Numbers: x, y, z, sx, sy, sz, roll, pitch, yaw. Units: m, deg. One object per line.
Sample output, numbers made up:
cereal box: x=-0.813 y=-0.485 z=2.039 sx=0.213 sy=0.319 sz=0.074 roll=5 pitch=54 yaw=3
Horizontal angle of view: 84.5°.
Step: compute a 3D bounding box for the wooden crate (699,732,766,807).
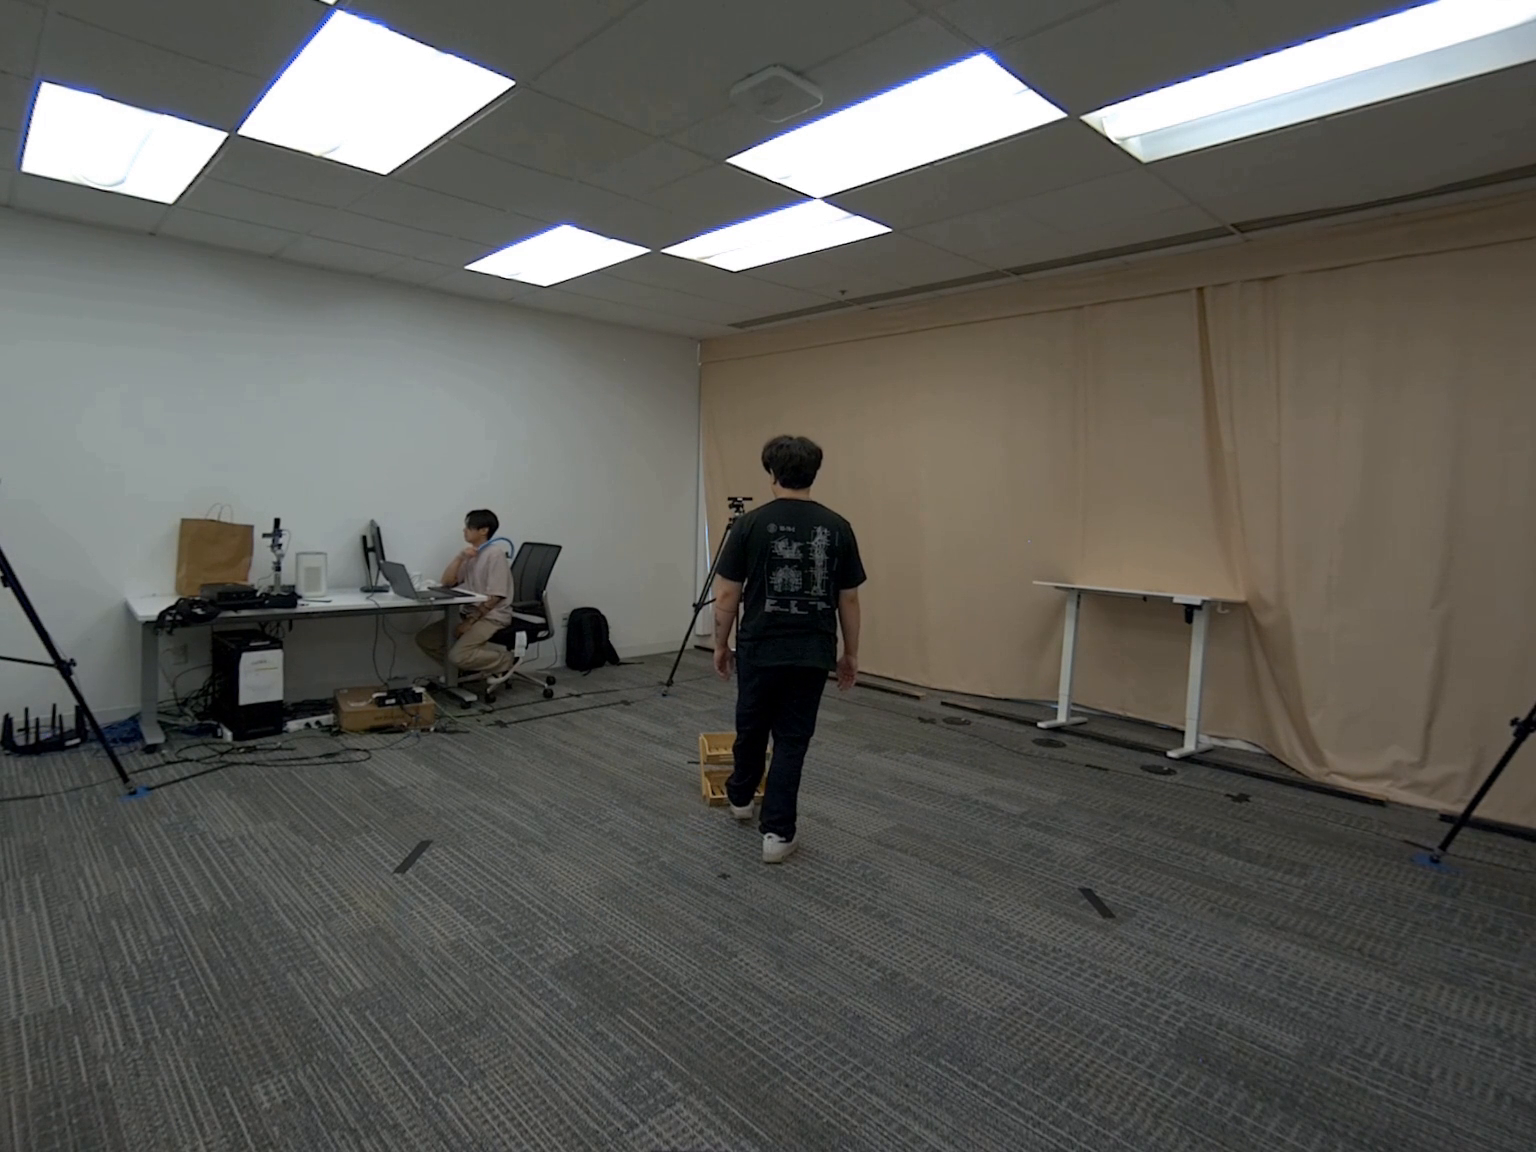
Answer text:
wooden crate: x=-0.162 y=0.901 z=3.962 sx=0.321 sy=0.273 sz=0.306 roll=1 pitch=3 yaw=-13
